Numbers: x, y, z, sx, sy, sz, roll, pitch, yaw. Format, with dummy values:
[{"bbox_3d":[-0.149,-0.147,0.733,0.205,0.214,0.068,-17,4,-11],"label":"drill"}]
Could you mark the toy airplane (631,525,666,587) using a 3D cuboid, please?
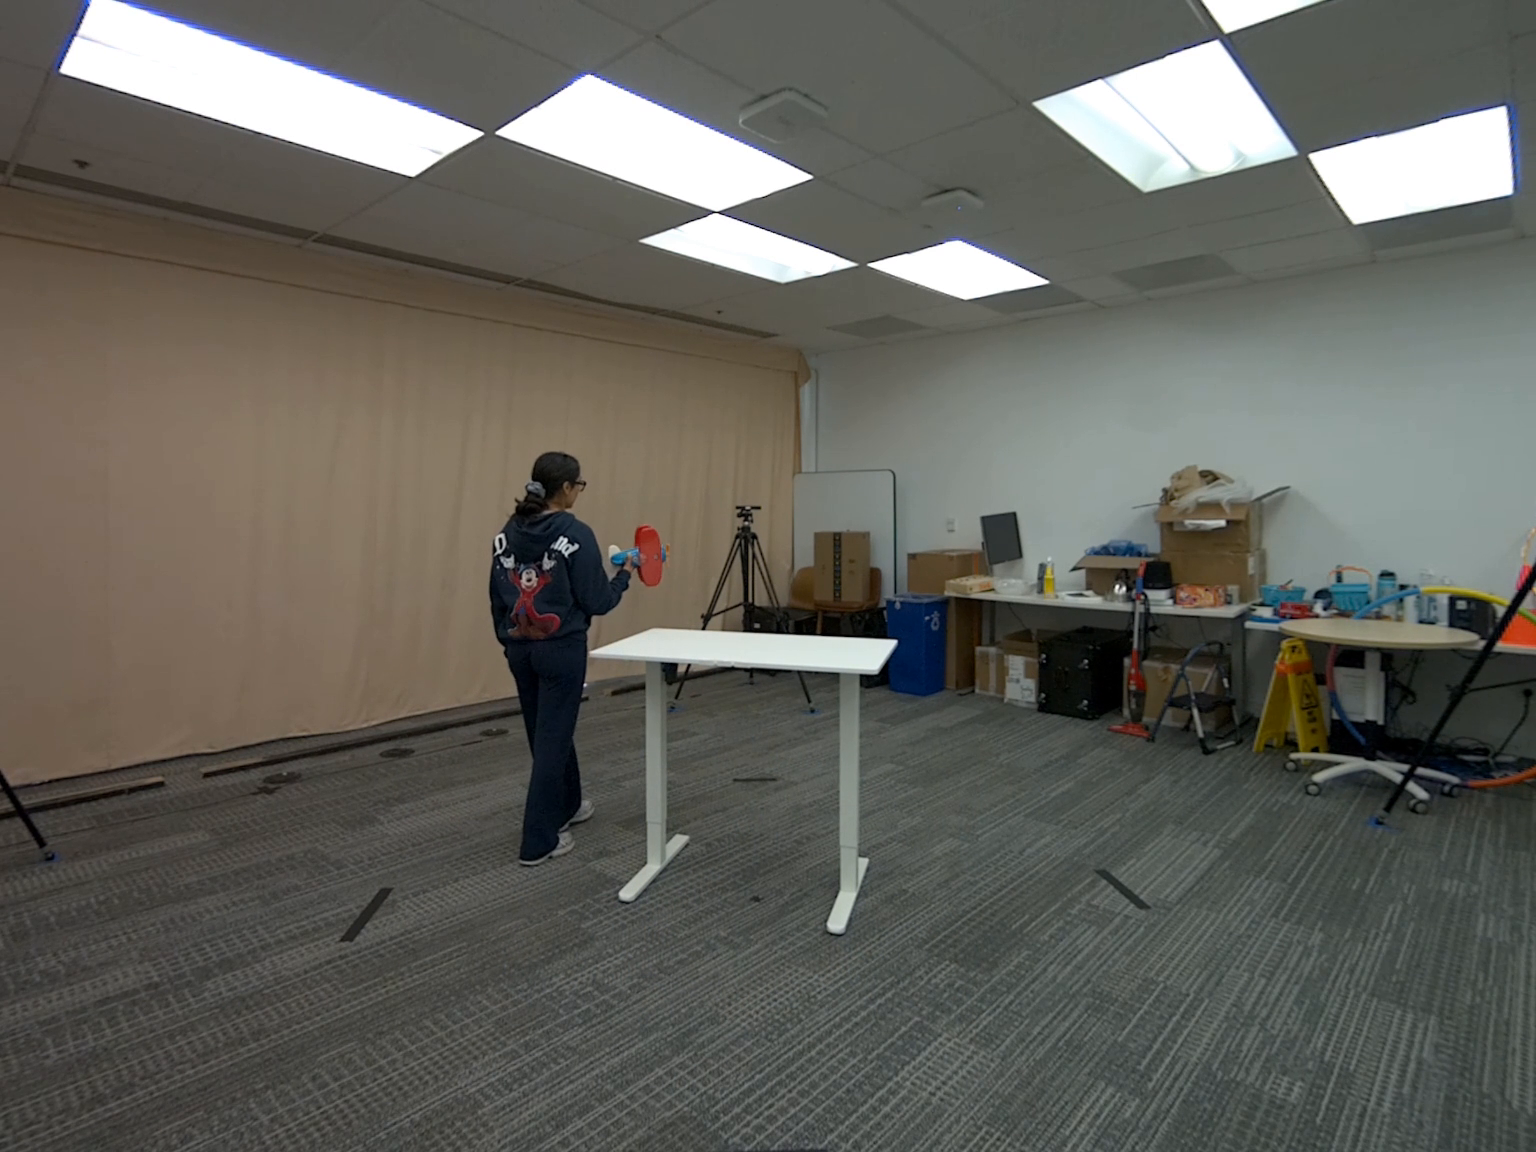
[{"bbox_3d":[-0.546,-0.068,3.641,0.257,0.245,0.162,-41,29,-22],"label":"toy airplane"}]
